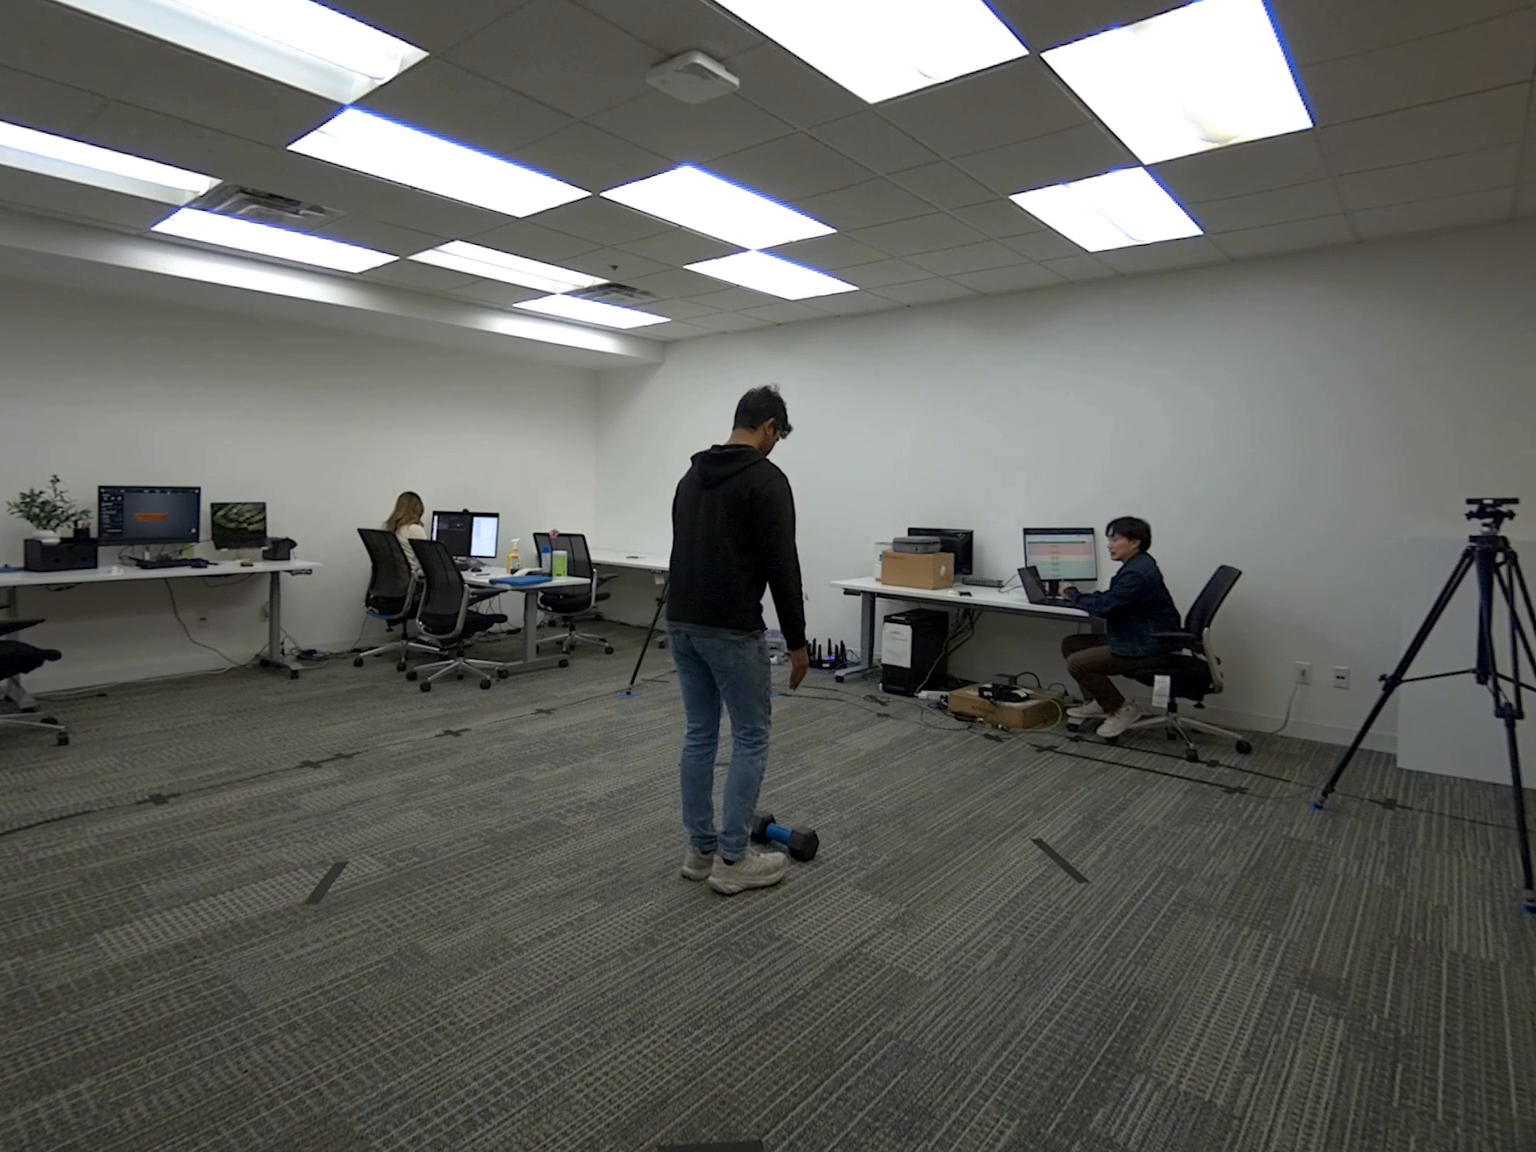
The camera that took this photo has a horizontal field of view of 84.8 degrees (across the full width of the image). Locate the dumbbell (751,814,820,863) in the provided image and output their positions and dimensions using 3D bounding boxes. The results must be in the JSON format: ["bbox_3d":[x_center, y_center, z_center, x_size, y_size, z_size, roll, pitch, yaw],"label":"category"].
[{"bbox_3d":[0.047,0.999,3.294,0.304,0.124,0.104,6,-24,42],"label":"dumbbell"}]
